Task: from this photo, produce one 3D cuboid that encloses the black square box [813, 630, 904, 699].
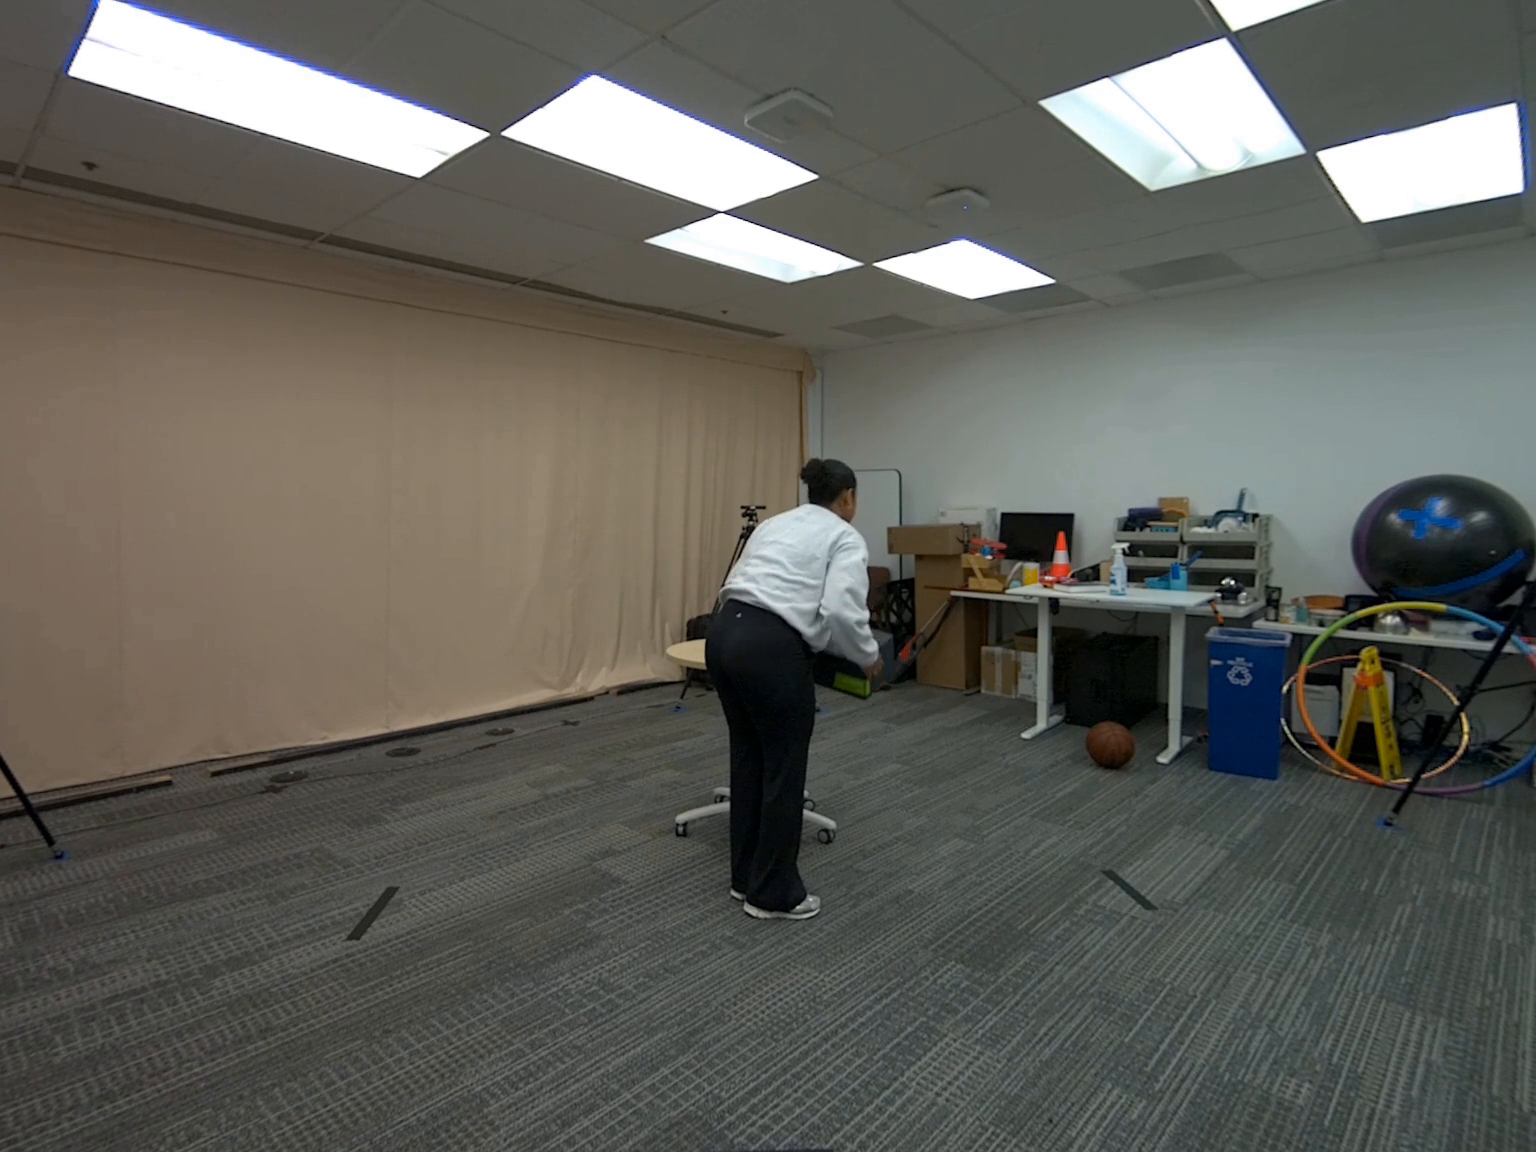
[{"bbox_3d":[0.305,0.313,3.050,0.235,0.153,0.213,14,31,33],"label":"black square box"}]
